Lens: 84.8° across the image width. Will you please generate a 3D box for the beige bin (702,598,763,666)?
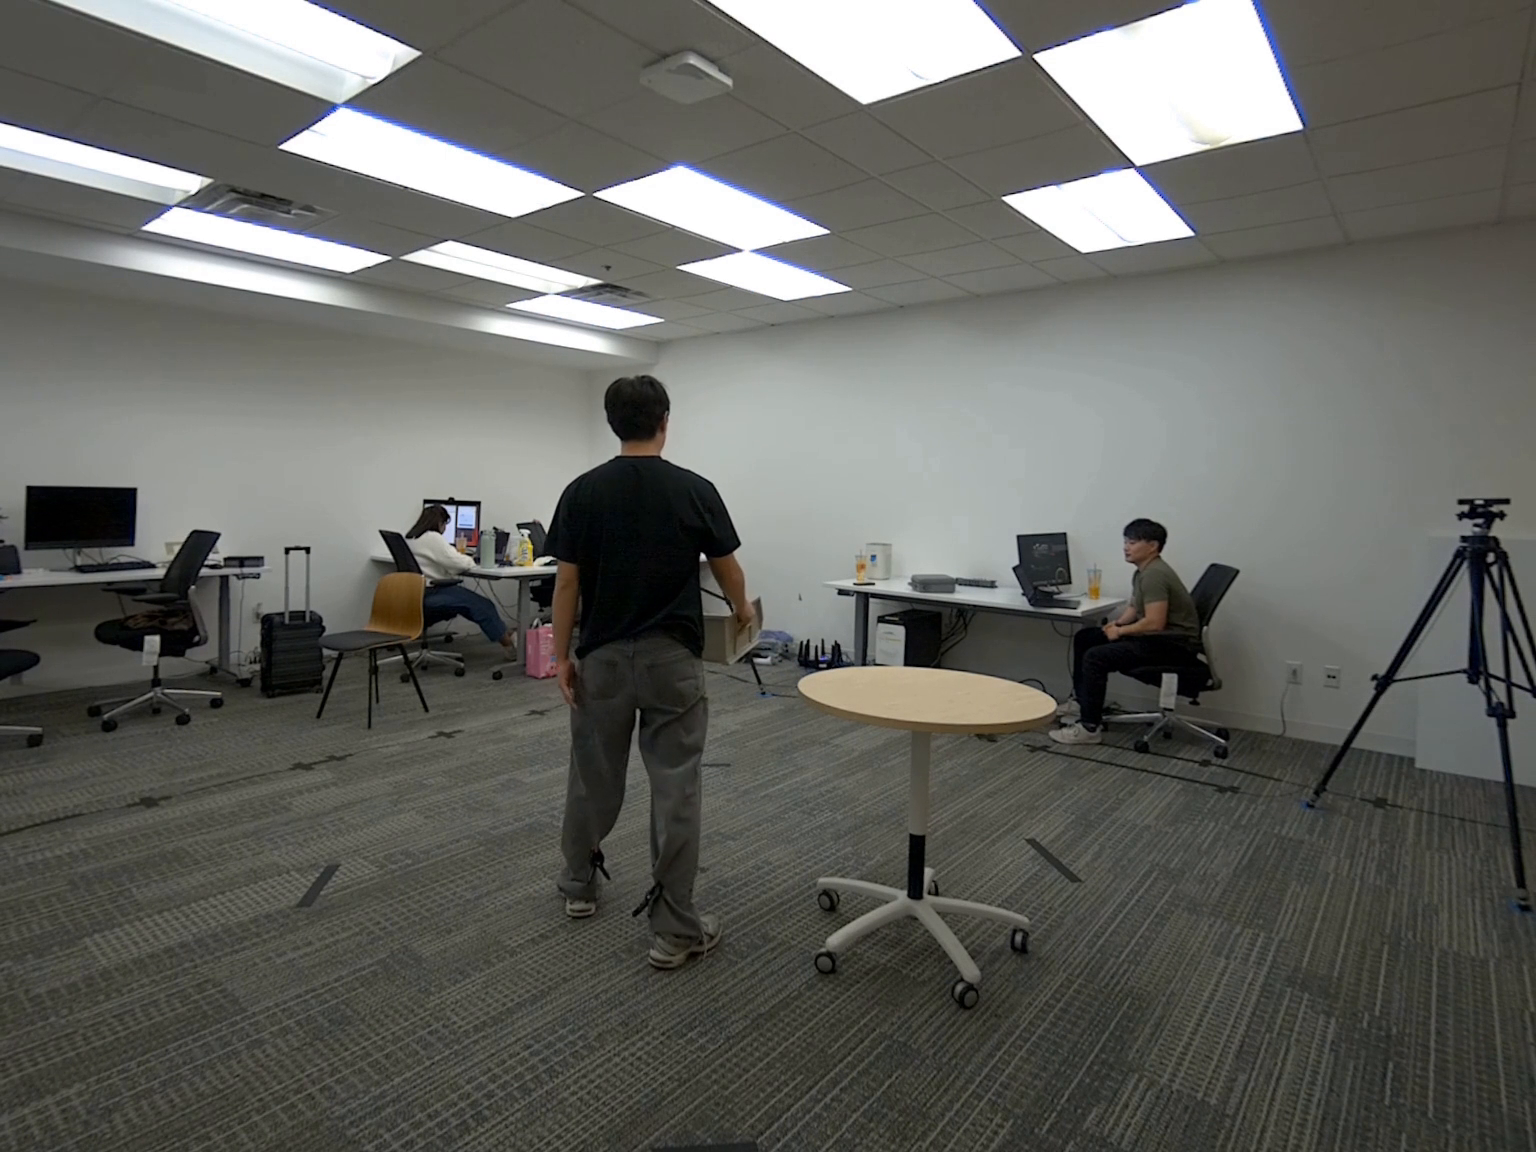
[{"bbox_3d":[-0.280,0.183,3.150,0.431,0.187,0.373,3,12,19],"label":"beige bin"}]
